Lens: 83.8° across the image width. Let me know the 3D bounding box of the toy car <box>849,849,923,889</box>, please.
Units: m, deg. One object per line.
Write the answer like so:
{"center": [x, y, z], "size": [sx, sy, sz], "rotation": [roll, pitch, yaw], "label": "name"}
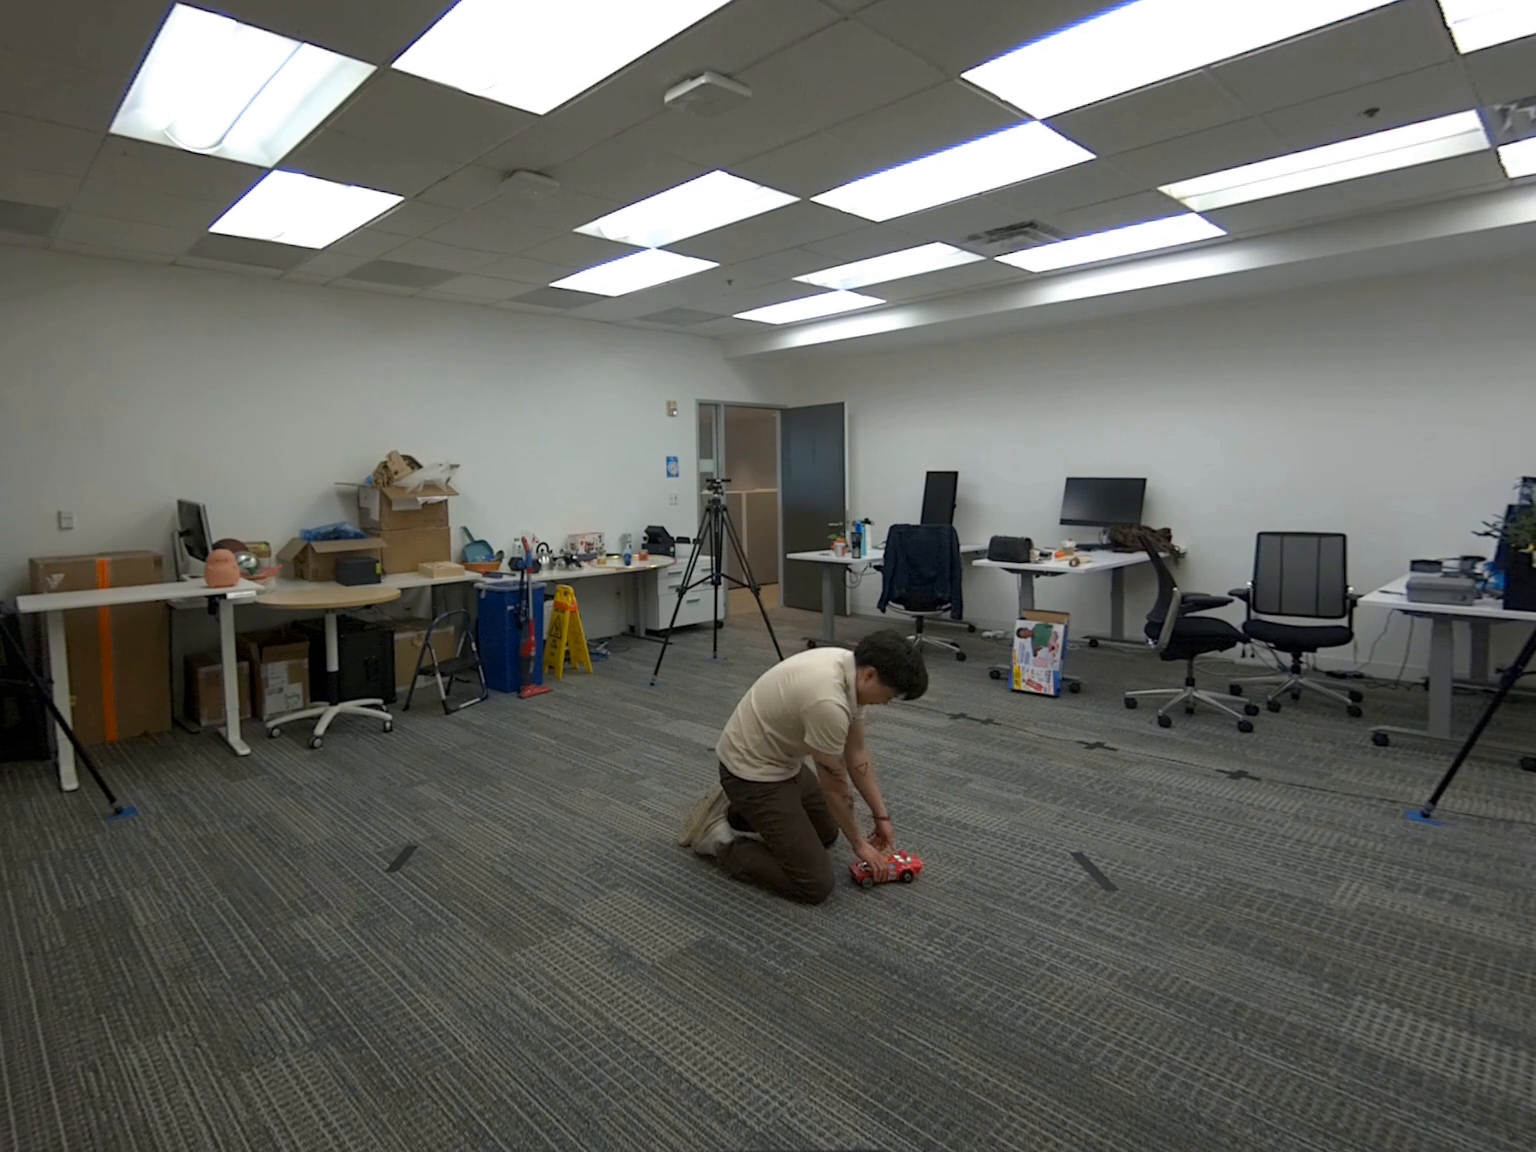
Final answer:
{"center": [0.424, 1.021, 2.970], "size": [0.253, 0.082, 0.132], "rotation": [-15, 7, -10], "label": "toy car"}
